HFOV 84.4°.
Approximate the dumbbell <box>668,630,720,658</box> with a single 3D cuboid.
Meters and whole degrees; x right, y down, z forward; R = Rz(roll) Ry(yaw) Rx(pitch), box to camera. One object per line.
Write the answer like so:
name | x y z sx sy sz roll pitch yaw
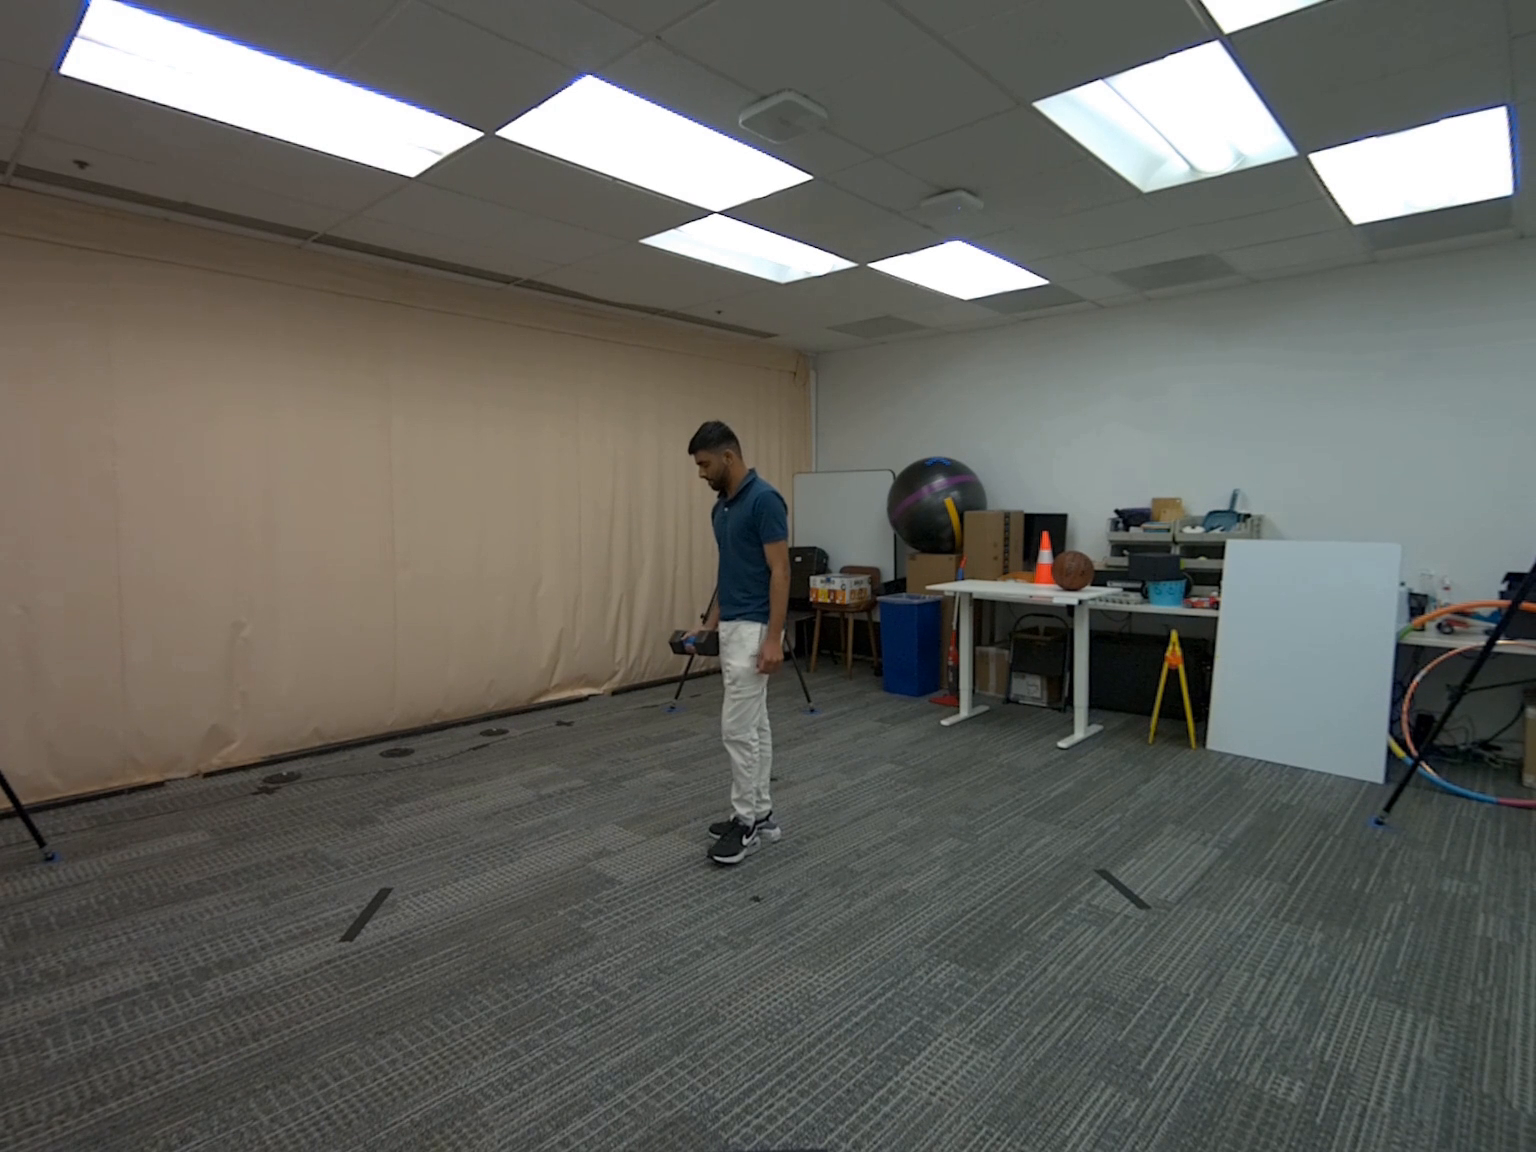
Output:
dumbbell | -0.313 0.283 3.630 0.119 0.109 0.302 7 -5 -33
